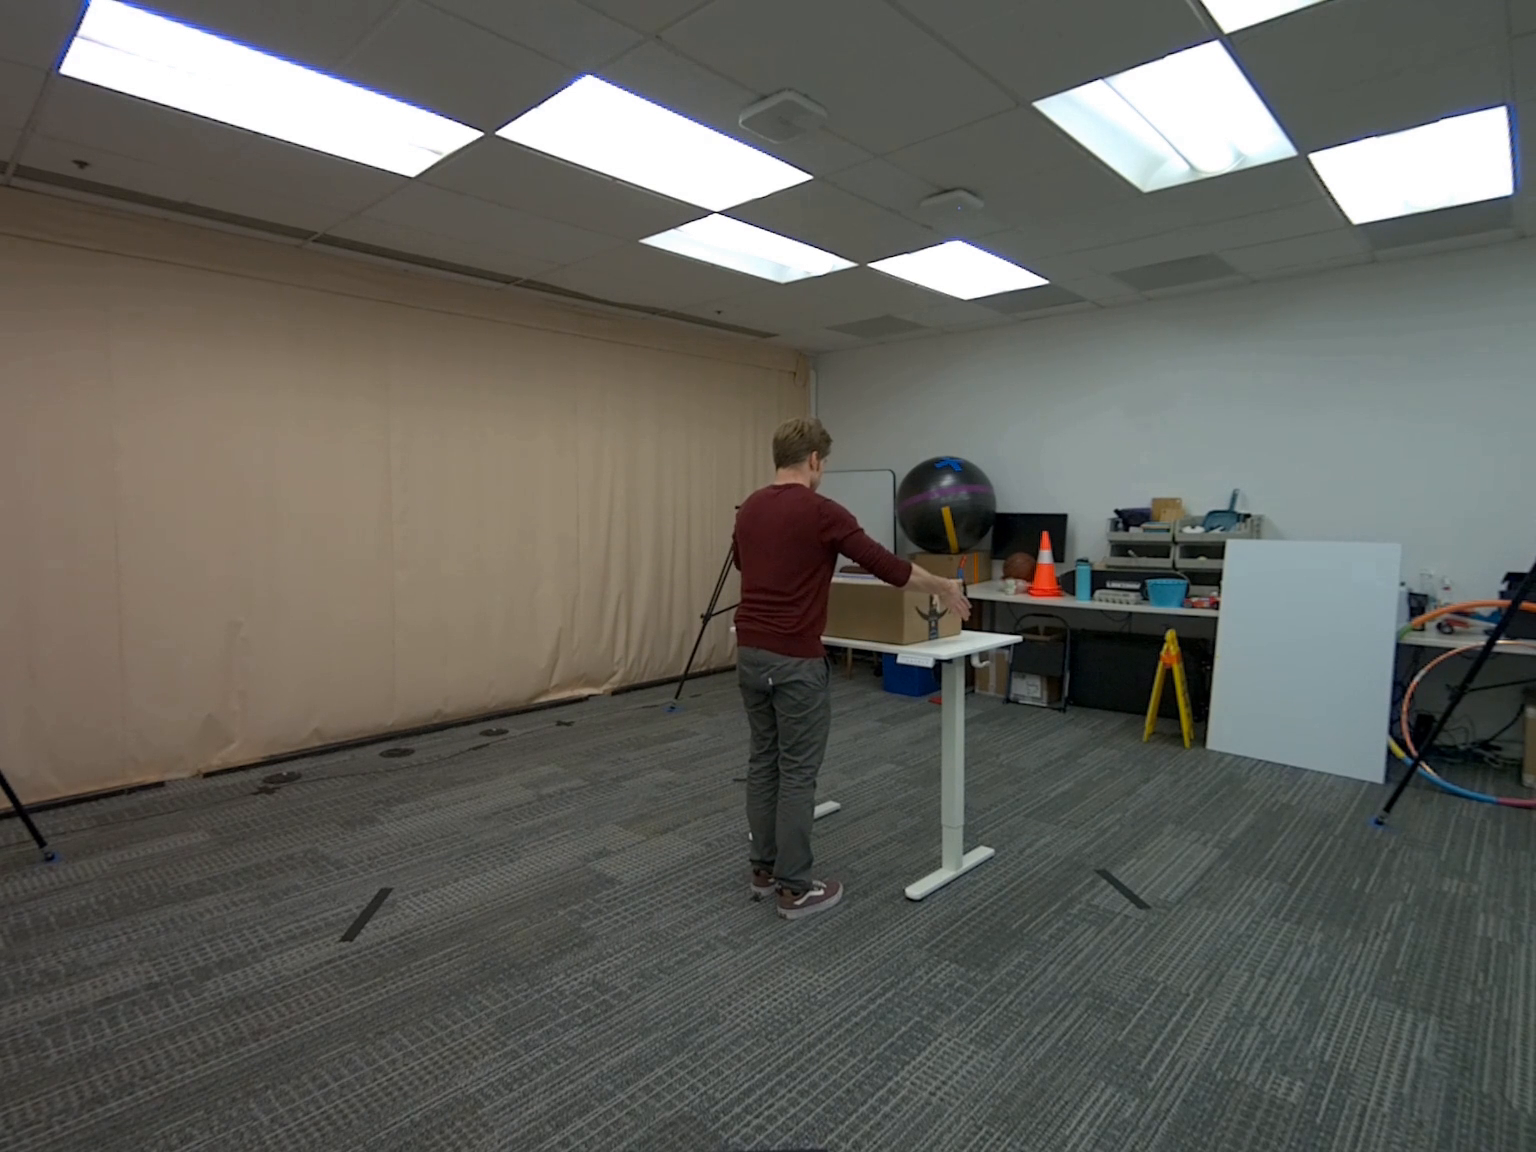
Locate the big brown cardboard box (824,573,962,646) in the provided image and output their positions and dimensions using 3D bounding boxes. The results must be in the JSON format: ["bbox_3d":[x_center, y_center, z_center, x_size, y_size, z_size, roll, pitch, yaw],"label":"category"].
[{"bbox_3d":[0.413,0.119,3.371,0.609,0.233,0.405,4,5,42],"label":"big brown cardboard box"}]
